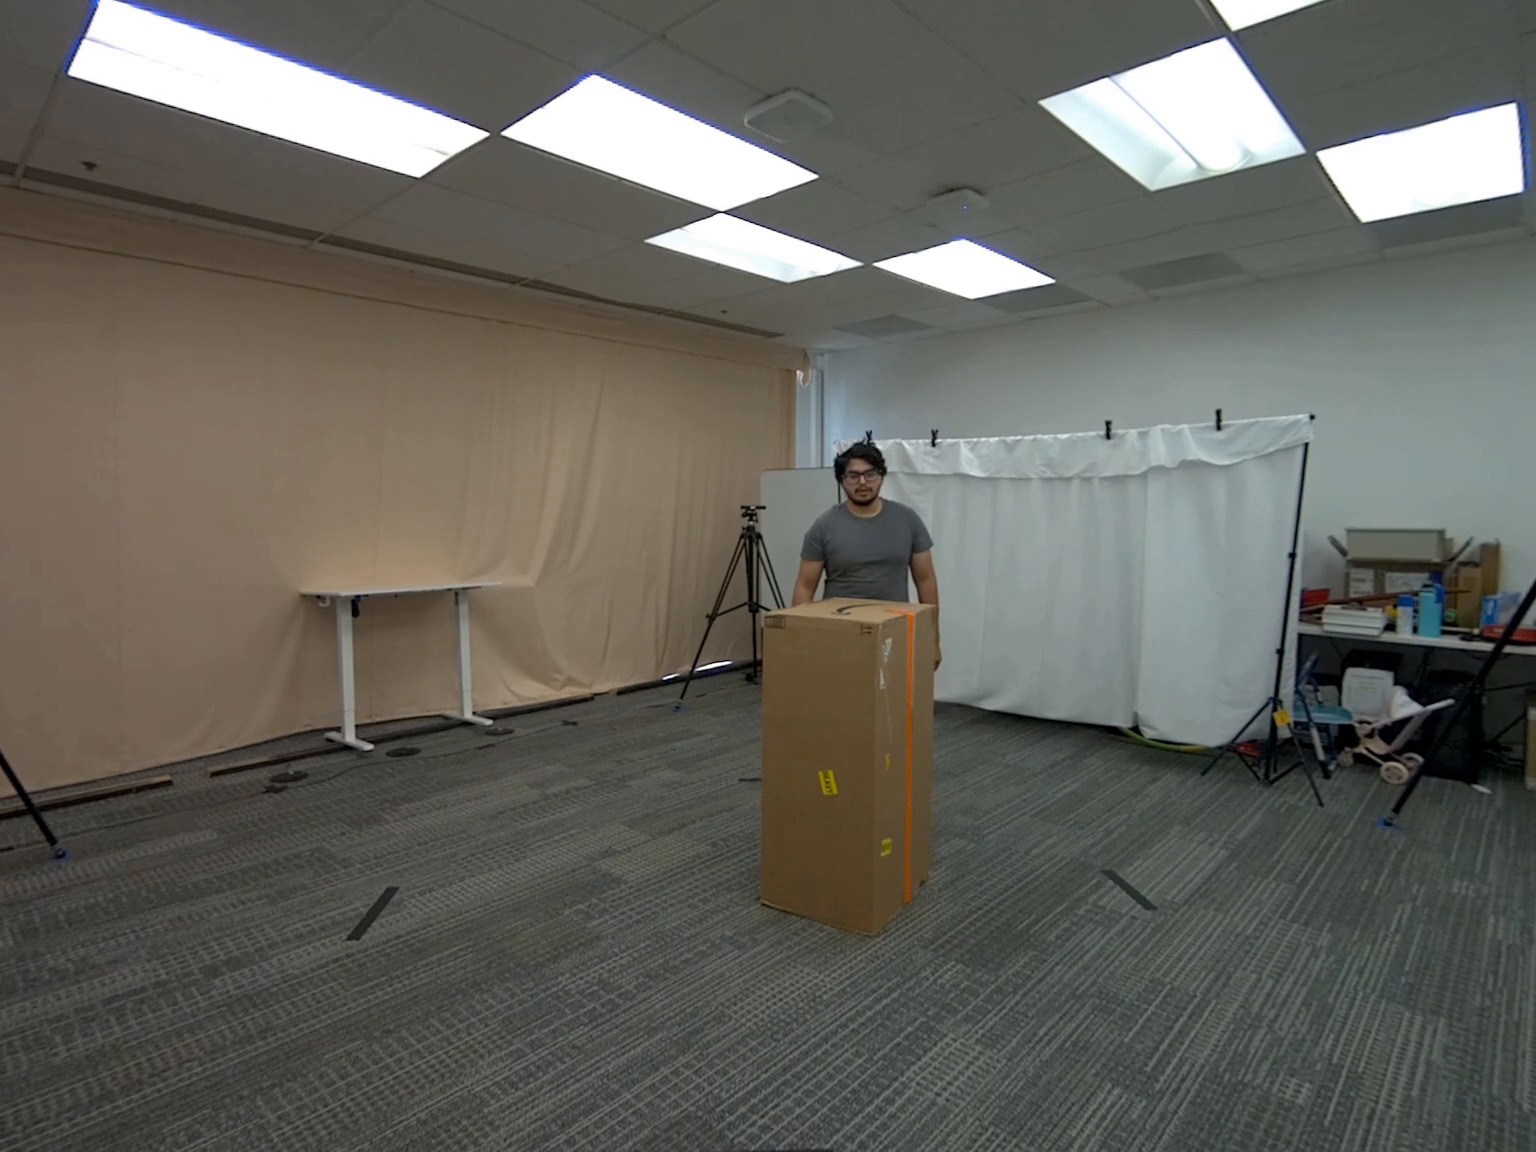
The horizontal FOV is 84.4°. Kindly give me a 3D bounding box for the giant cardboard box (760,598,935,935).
[{"bbox_3d":[0.301,0.634,3.033,0.460,1.025,0.568,2,3,31],"label":"giant cardboard box"}]
